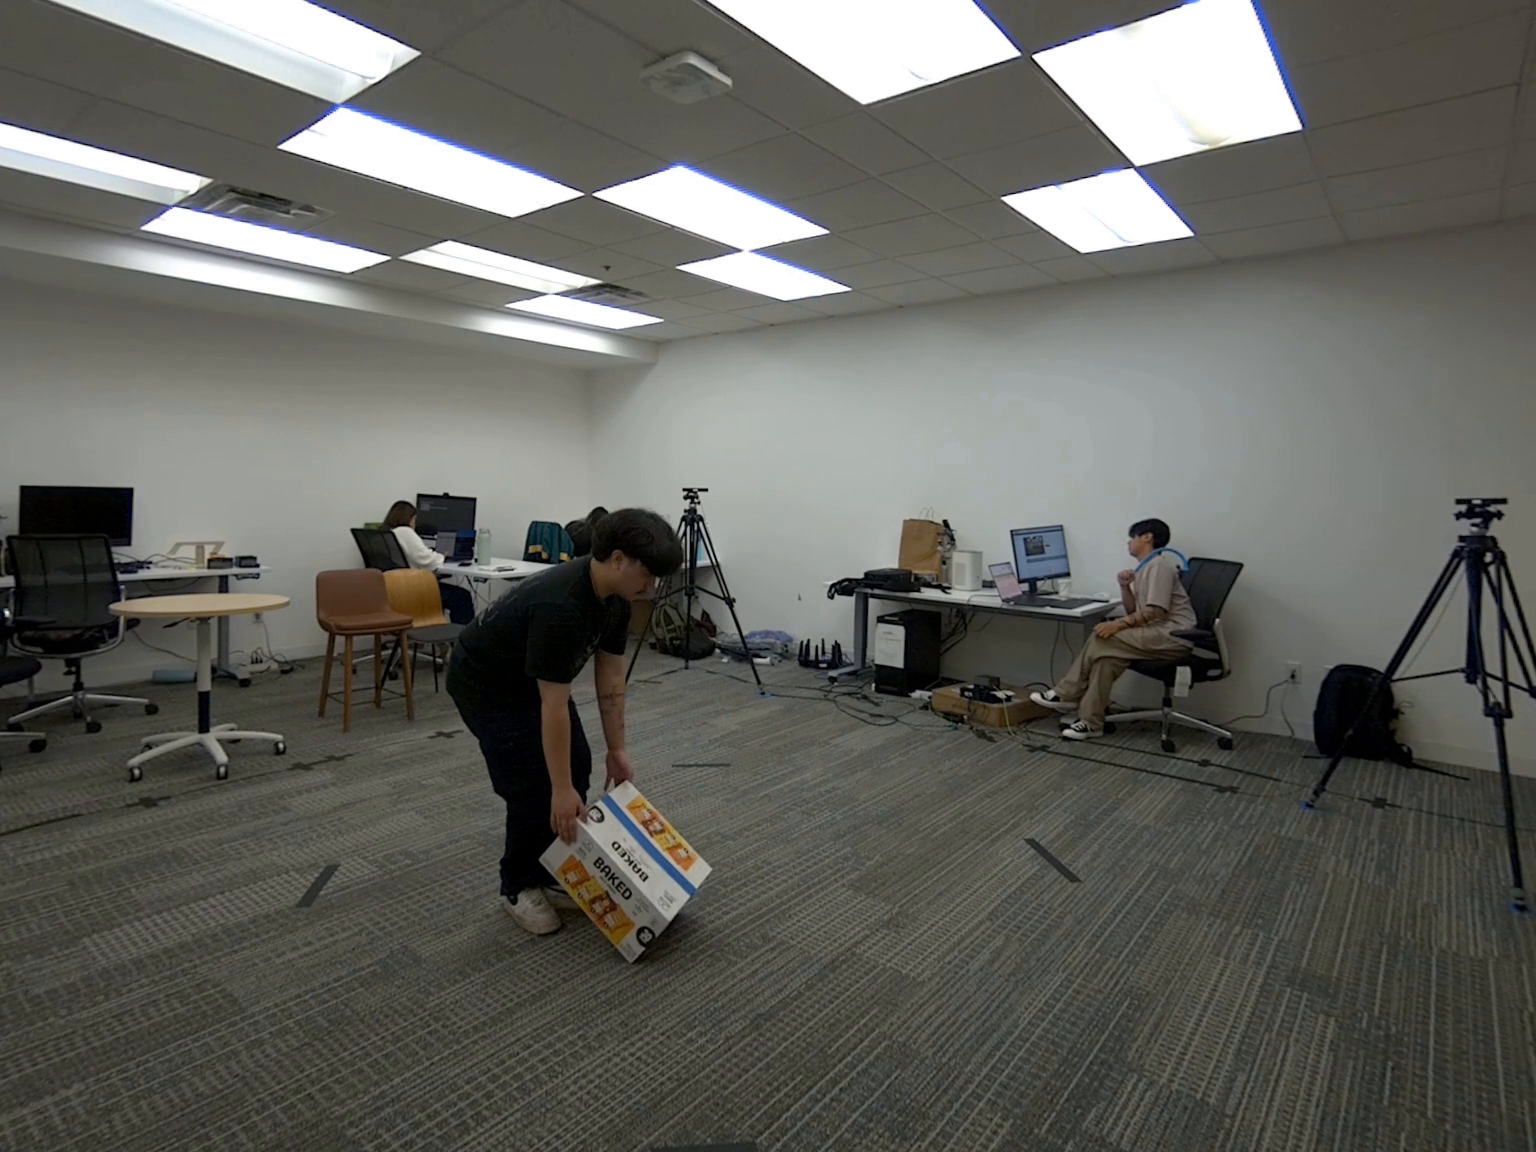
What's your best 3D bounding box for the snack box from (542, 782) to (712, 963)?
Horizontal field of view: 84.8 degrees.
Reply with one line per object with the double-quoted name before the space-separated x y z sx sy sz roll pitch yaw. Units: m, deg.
"snack box" -0.444 0.904 2.646 0.412 0.205 0.335 42 17 11
